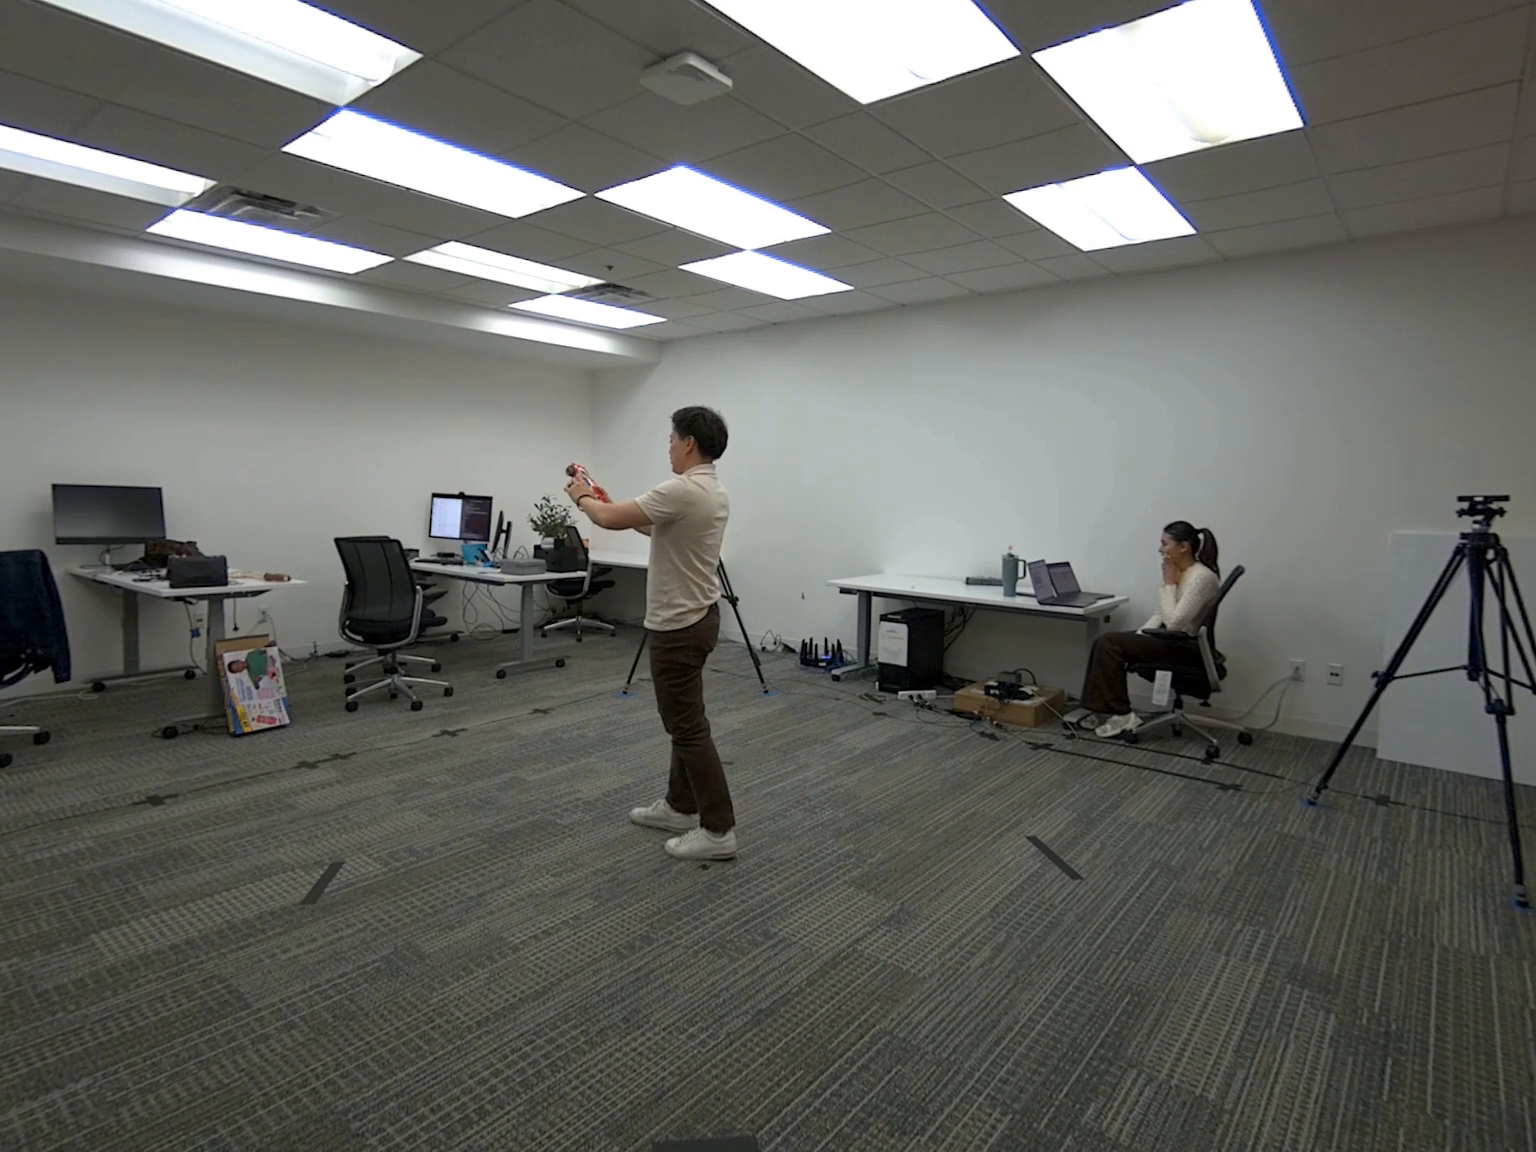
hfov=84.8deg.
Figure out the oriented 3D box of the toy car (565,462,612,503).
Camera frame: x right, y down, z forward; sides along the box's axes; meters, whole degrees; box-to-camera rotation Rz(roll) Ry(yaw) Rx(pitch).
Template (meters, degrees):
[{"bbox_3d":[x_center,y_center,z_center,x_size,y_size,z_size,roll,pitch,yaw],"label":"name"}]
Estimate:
[{"bbox_3d":[-0.747,-0.349,3.472,0.083,0.262,0.126,-42,-21,12],"label":"toy car"}]
